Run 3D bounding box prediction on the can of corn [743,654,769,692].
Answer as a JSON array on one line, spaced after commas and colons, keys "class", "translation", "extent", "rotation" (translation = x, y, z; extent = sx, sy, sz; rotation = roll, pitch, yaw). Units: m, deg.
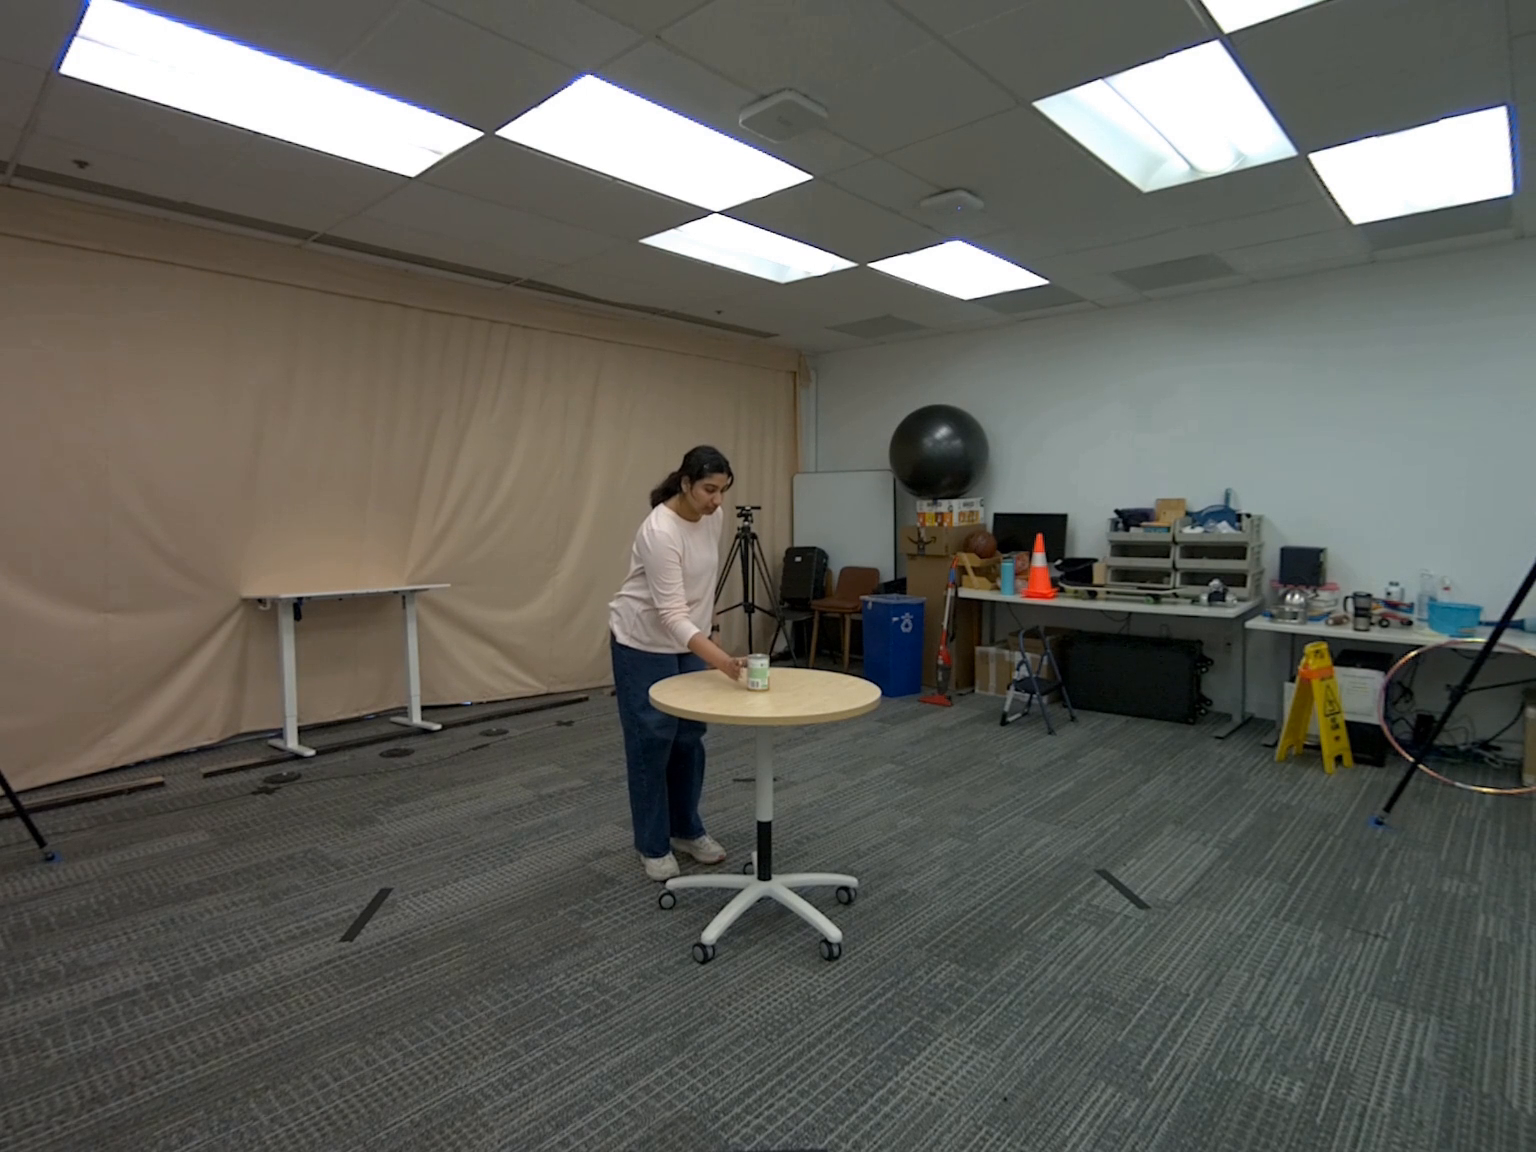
[{"class": "can of corn", "translation": [-0.029, 0.323, 2.783], "extent": [0.074, 0.111, 0.074], "rotation": [-3, 5, -2]}]
